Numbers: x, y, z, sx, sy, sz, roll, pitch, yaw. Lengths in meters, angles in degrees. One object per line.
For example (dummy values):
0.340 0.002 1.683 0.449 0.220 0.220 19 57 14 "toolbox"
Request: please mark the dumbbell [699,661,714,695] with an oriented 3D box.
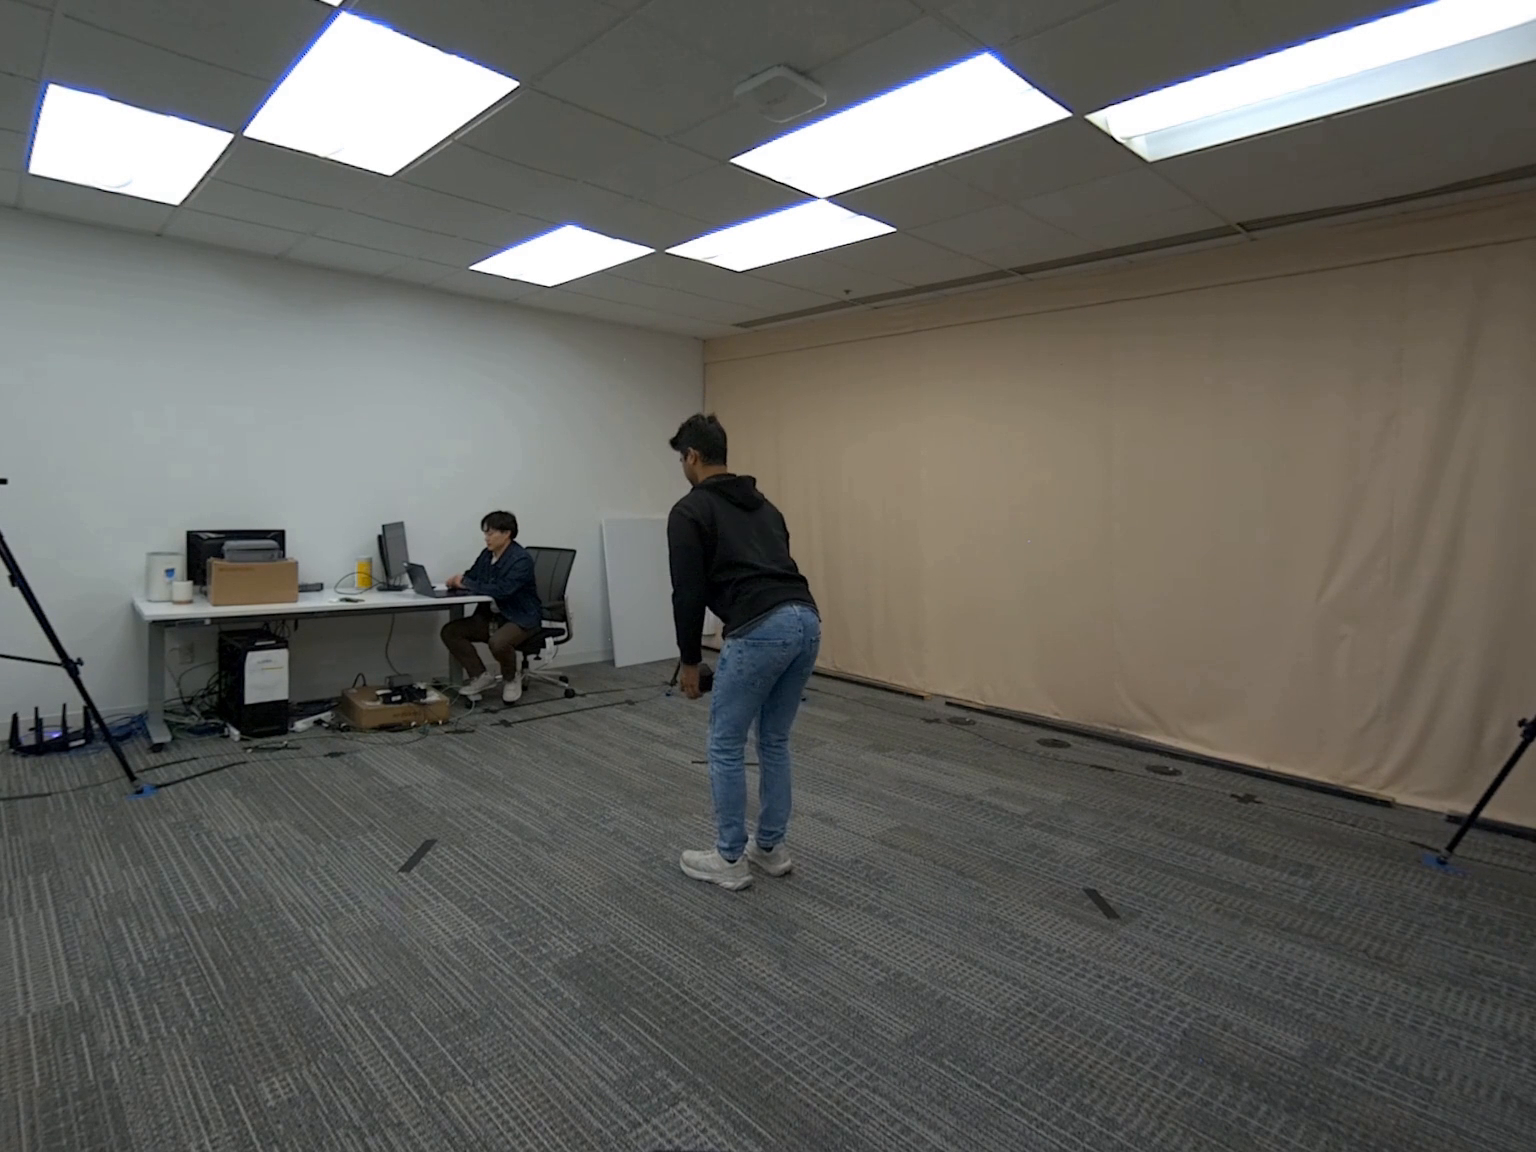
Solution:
-0.180 0.393 3.205 0.287 0.108 0.127 -1 37 -43 "dumbbell"
